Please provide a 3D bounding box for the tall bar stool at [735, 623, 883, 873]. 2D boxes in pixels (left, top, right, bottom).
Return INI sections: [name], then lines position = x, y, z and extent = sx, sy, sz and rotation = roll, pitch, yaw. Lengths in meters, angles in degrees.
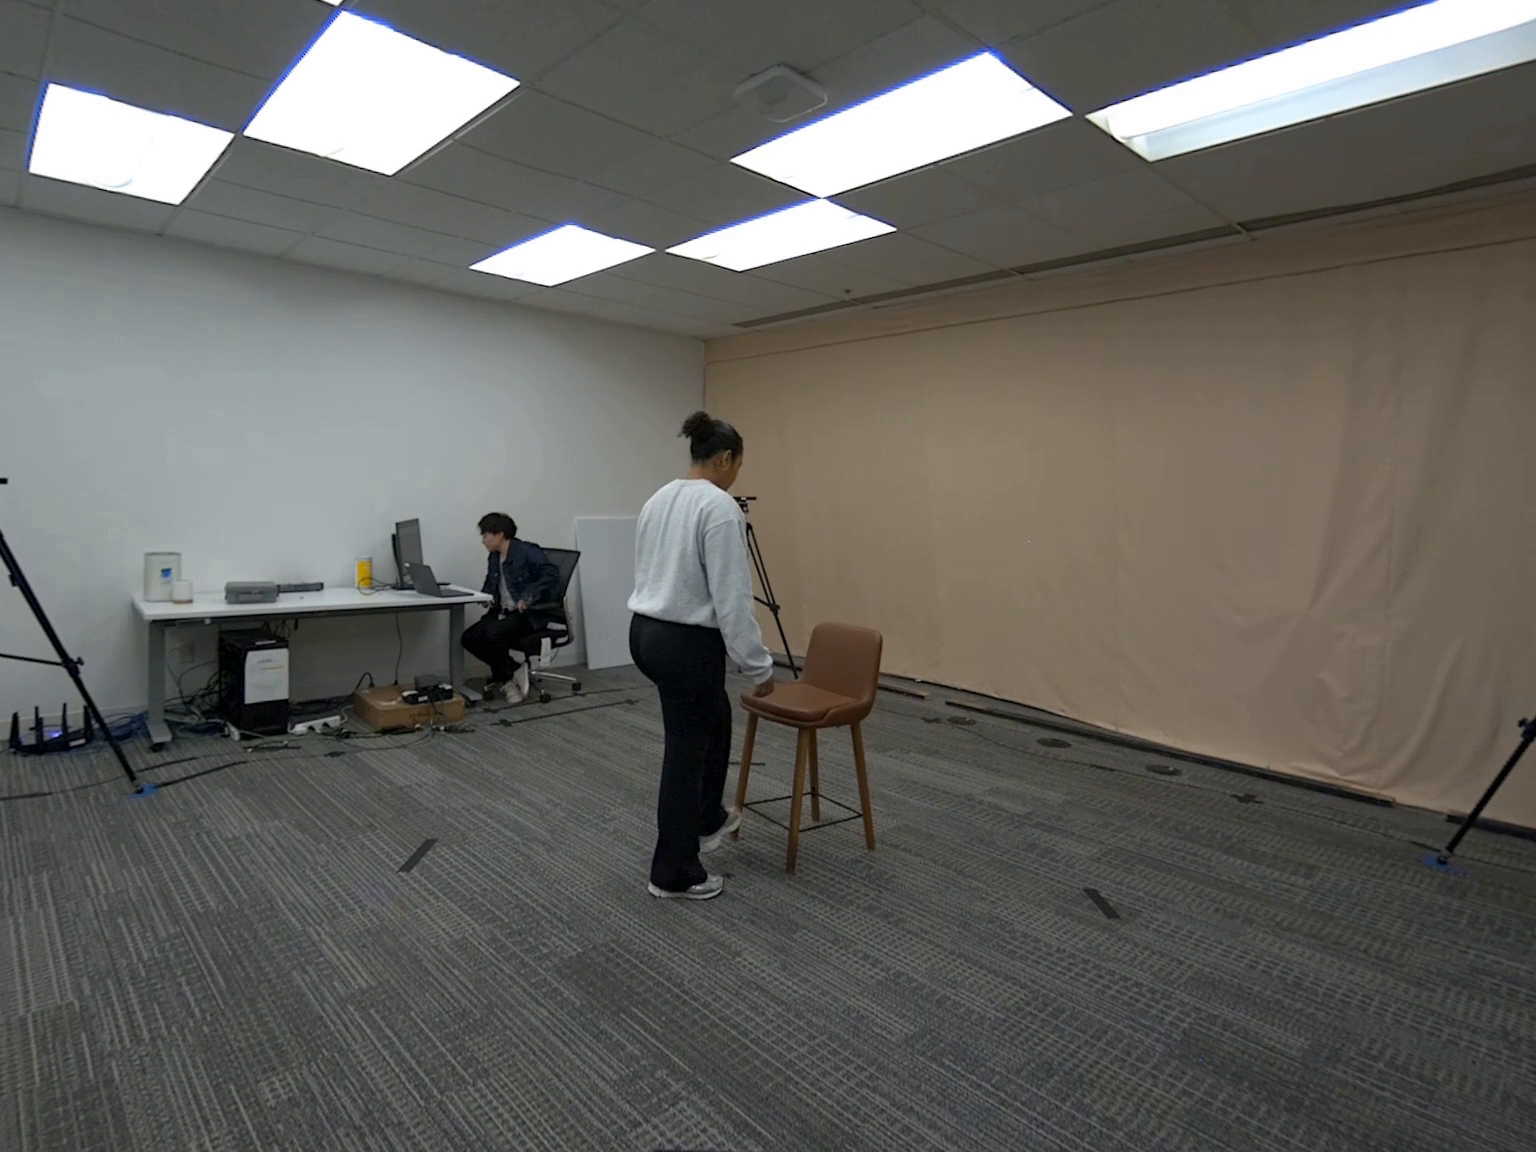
[tall bar stool]
position = 0.155, 0.652, 3.394
extent = 0.457, 0.889, 0.467
rotation = 2, 2, -35
